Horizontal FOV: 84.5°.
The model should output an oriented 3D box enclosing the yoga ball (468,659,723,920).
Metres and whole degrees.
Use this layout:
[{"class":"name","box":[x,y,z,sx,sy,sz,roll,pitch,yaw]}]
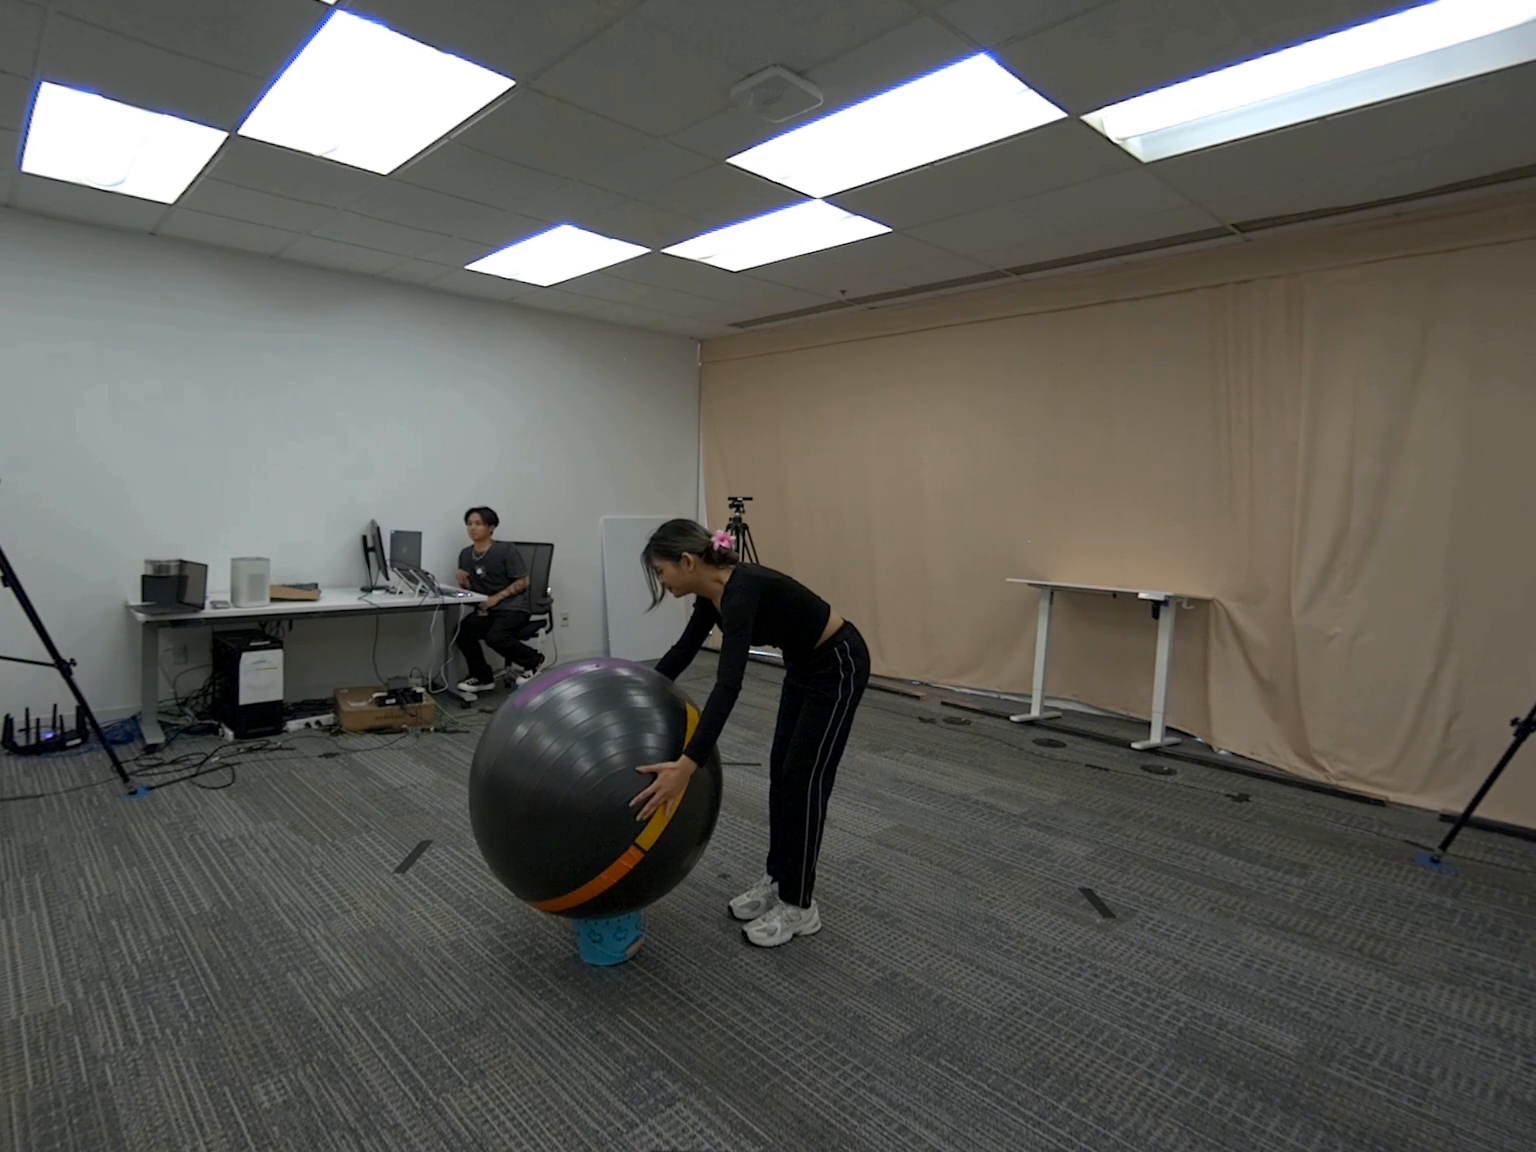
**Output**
[{"class":"yoga ball","box":[-0.520,0.634,2.549,0.757,0.756,0.761,1,4,-1]}]
